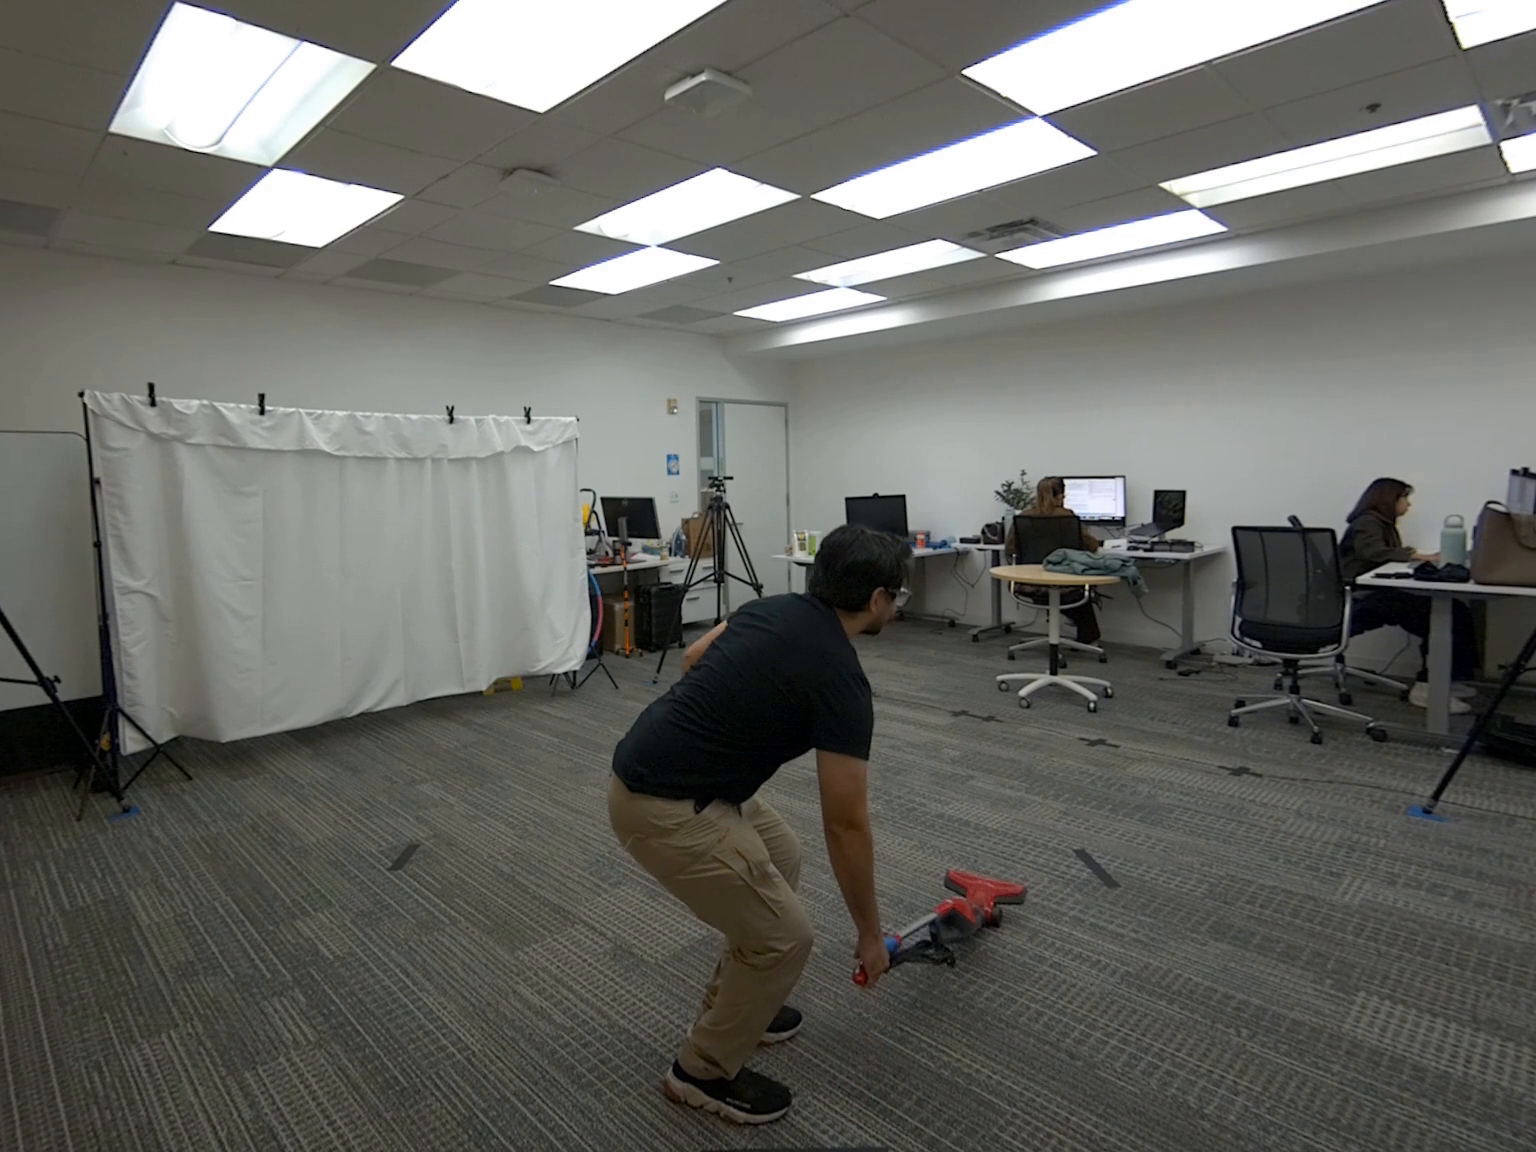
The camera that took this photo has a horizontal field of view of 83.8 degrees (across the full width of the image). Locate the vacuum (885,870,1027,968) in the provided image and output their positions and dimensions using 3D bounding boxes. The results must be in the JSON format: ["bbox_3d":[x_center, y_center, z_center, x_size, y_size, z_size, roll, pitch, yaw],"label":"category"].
[{"bbox_3d":[0.452,0.960,2.260,0.259,0.145,1.016,3,-7,28],"label":"vacuum"}]
